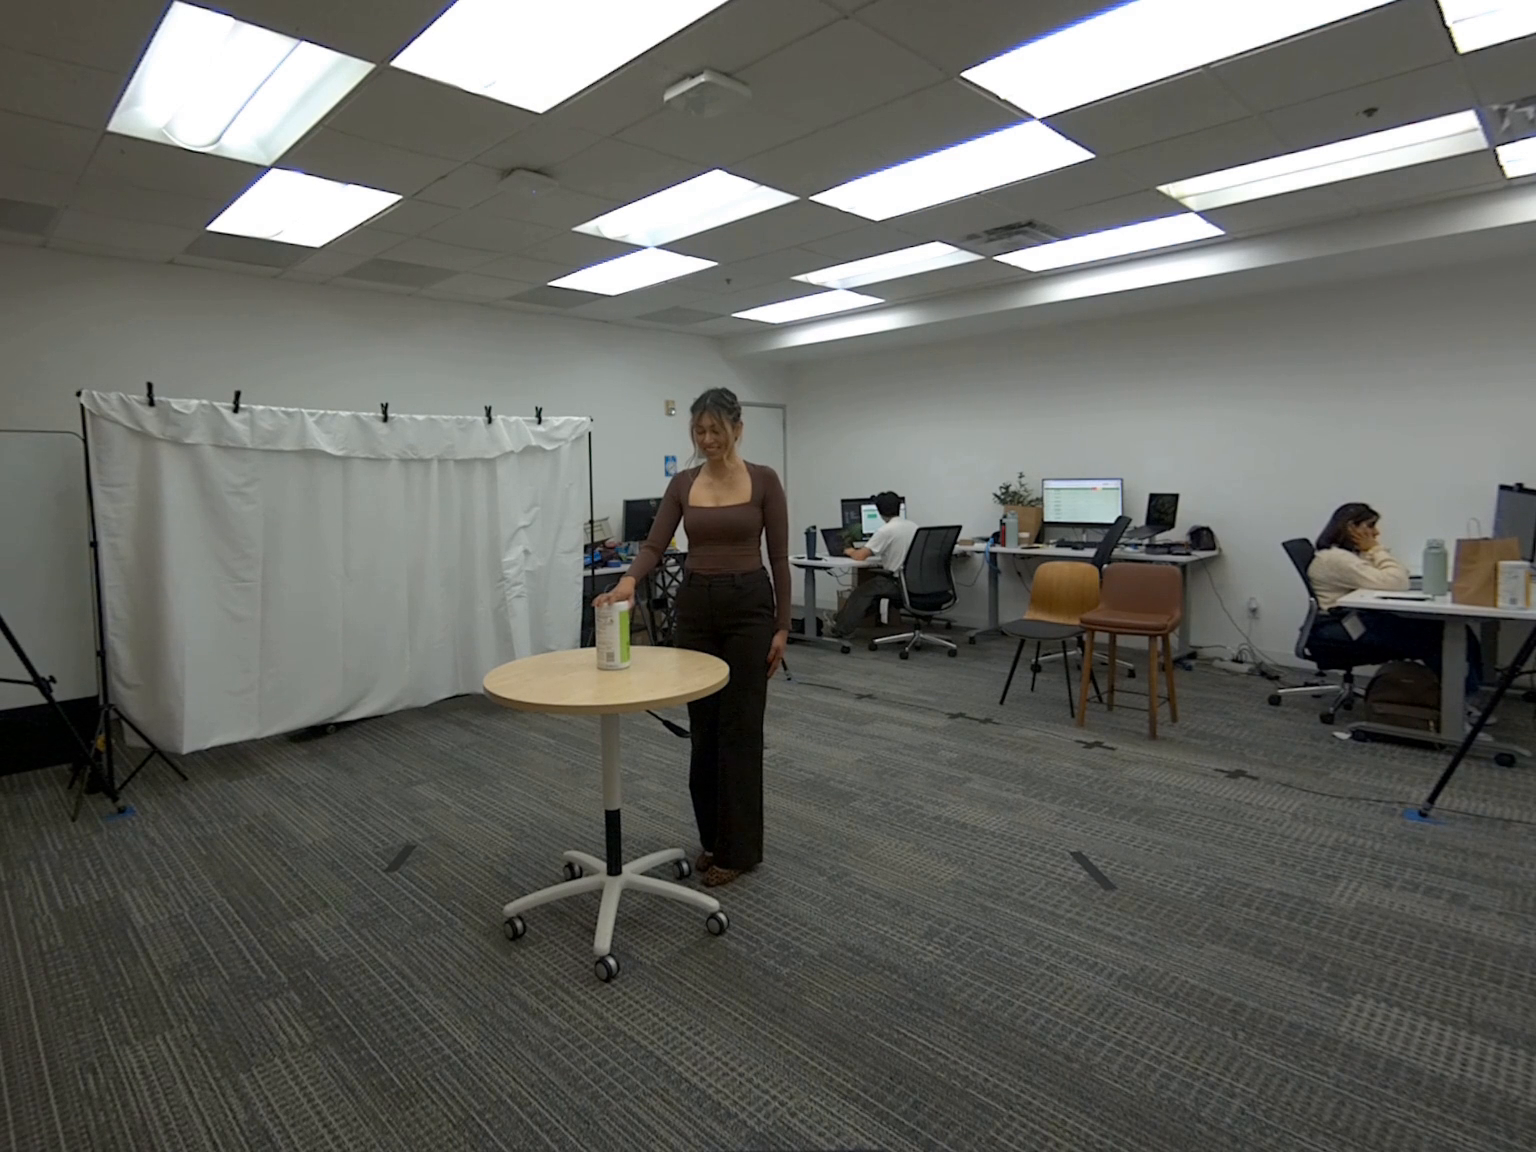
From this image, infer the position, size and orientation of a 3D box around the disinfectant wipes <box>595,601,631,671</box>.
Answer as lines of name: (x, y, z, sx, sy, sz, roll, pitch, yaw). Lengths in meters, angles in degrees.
disinfectant wipes: (-0.497, 0.187, 2.750, 0.118, 0.217, 0.118, 0, 2, -2)
